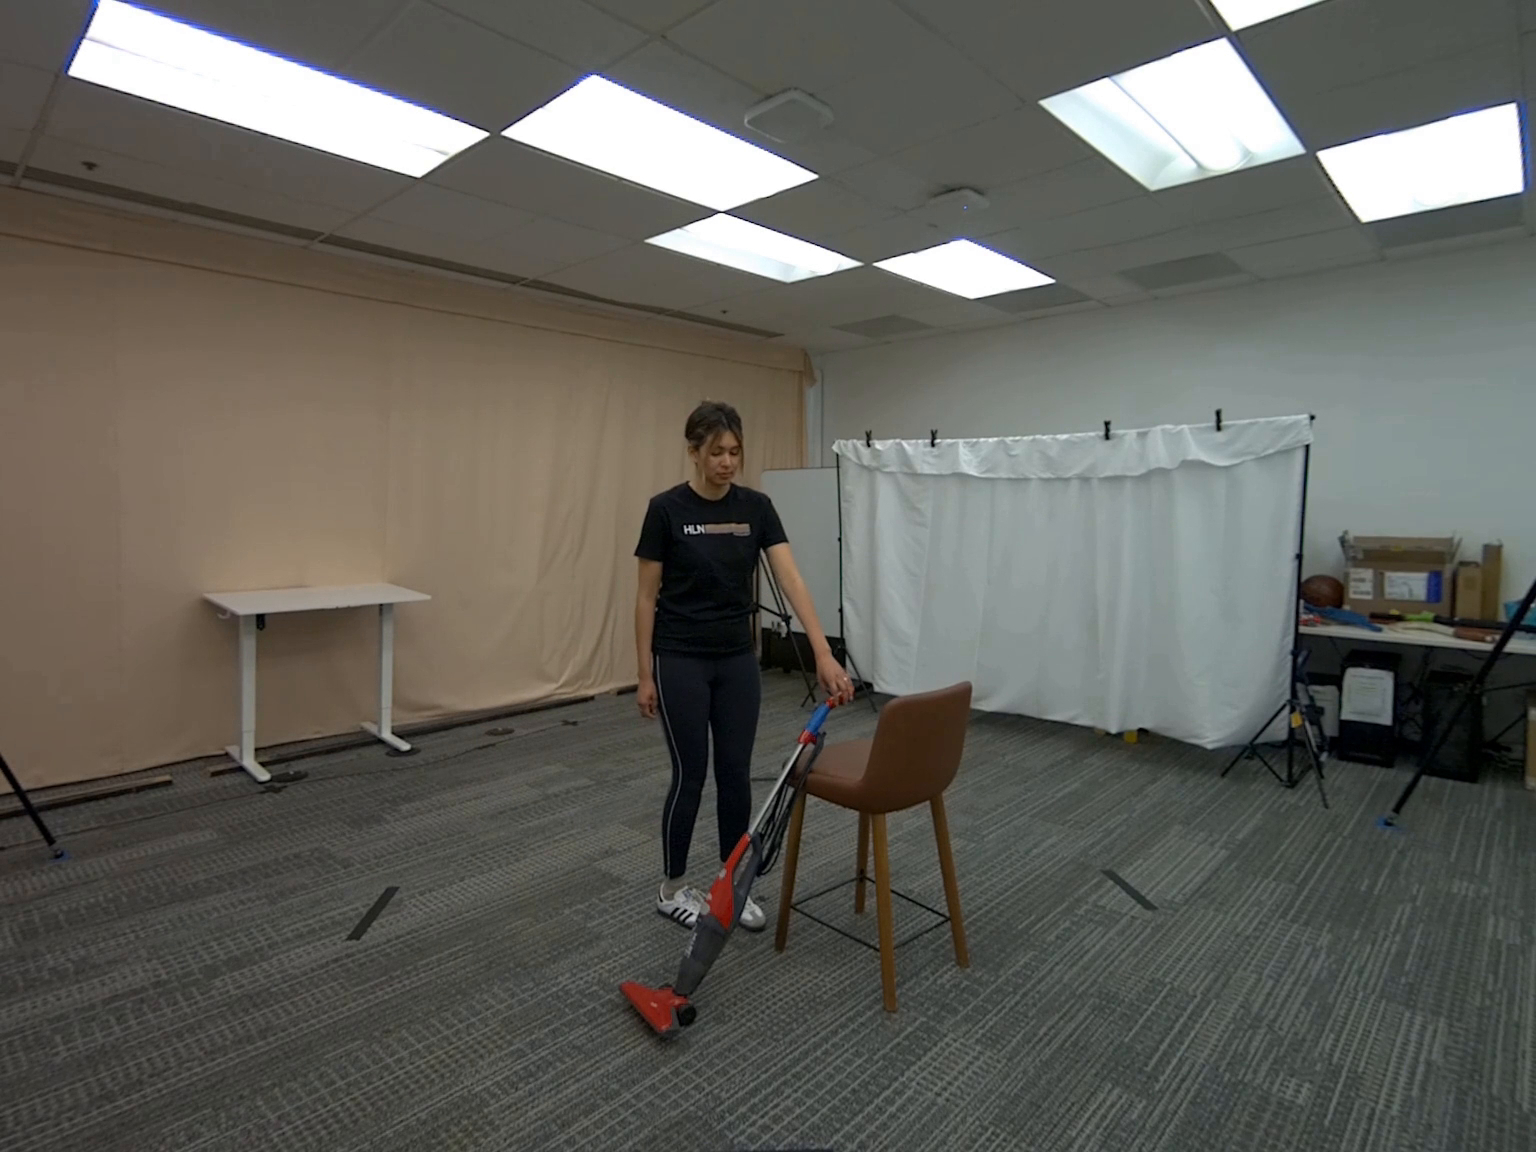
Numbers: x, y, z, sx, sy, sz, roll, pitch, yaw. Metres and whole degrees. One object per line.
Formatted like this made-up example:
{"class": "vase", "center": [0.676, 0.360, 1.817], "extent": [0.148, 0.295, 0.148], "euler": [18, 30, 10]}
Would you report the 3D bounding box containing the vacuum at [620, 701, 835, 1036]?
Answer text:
{"class": "vacuum", "center": [-0.023, 0.775, 2.435], "extent": [0.261, 1.048, 0.139], "euler": [7, -31, 50]}
